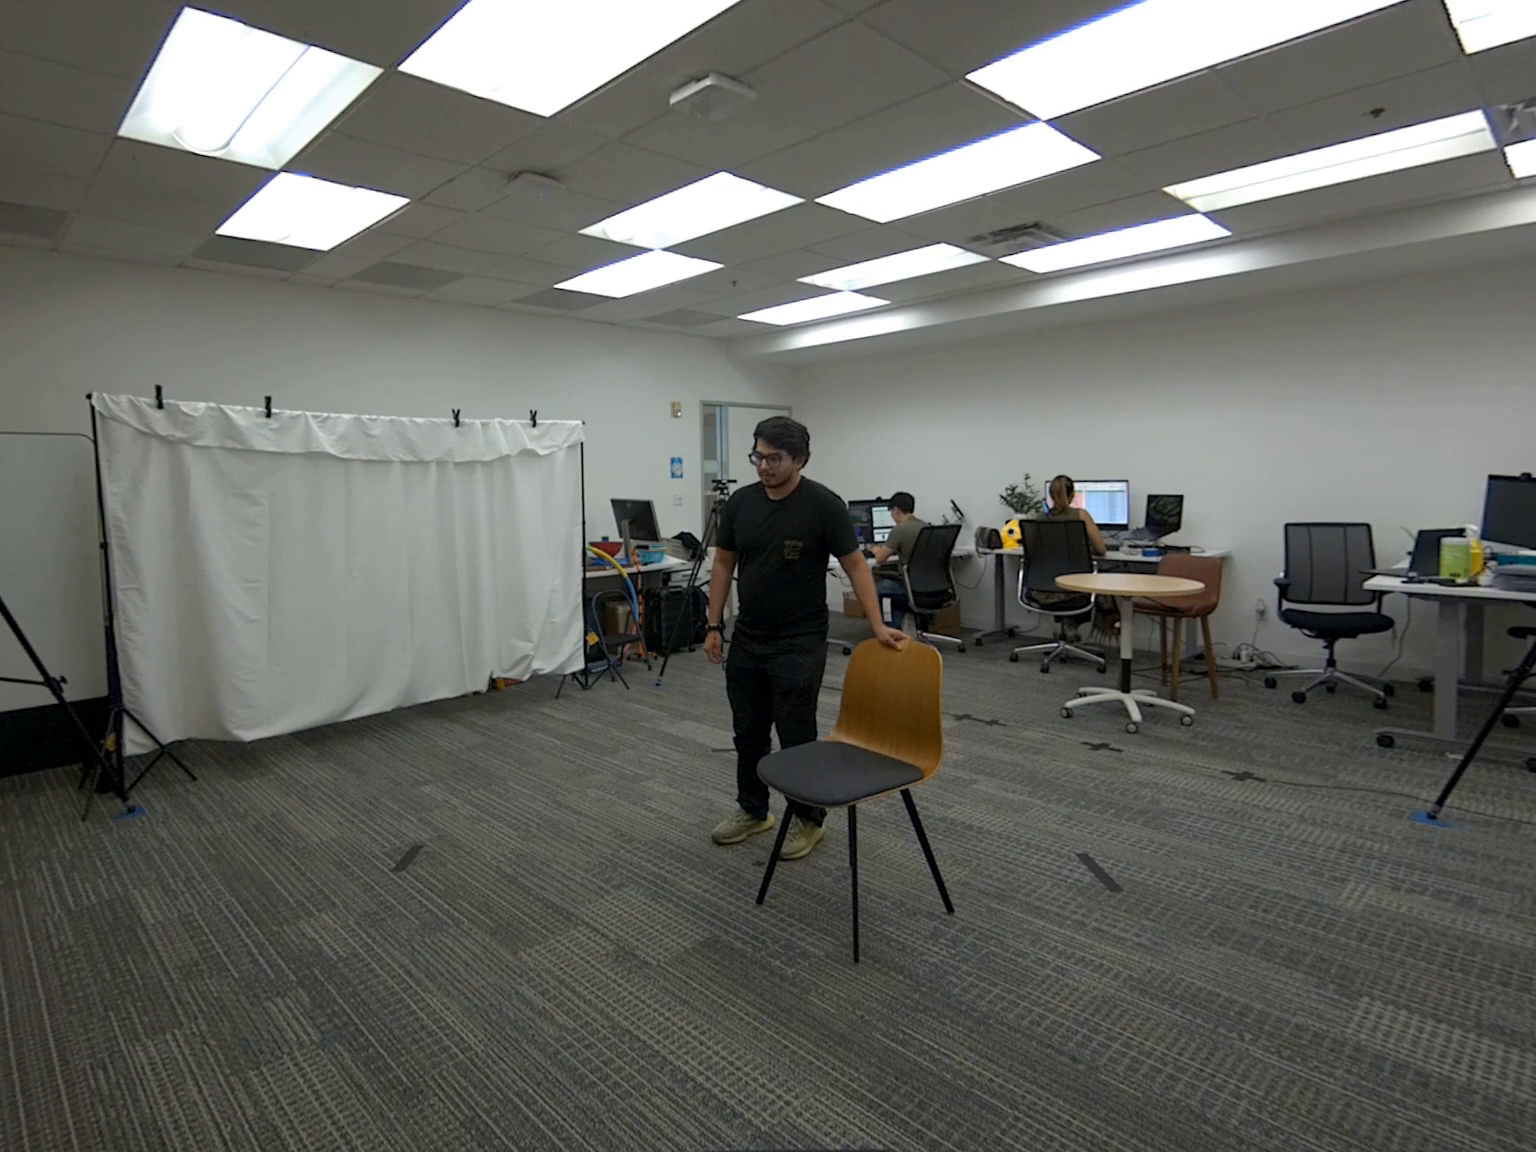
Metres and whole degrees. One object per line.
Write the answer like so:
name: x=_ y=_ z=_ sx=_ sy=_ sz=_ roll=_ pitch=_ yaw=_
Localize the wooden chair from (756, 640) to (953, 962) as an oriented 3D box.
wooden chair: x=0.266 y=0.655 z=2.736 sx=0.508 sy=0.877 sz=0.492 roll=1 pitch=1 yaw=-39
